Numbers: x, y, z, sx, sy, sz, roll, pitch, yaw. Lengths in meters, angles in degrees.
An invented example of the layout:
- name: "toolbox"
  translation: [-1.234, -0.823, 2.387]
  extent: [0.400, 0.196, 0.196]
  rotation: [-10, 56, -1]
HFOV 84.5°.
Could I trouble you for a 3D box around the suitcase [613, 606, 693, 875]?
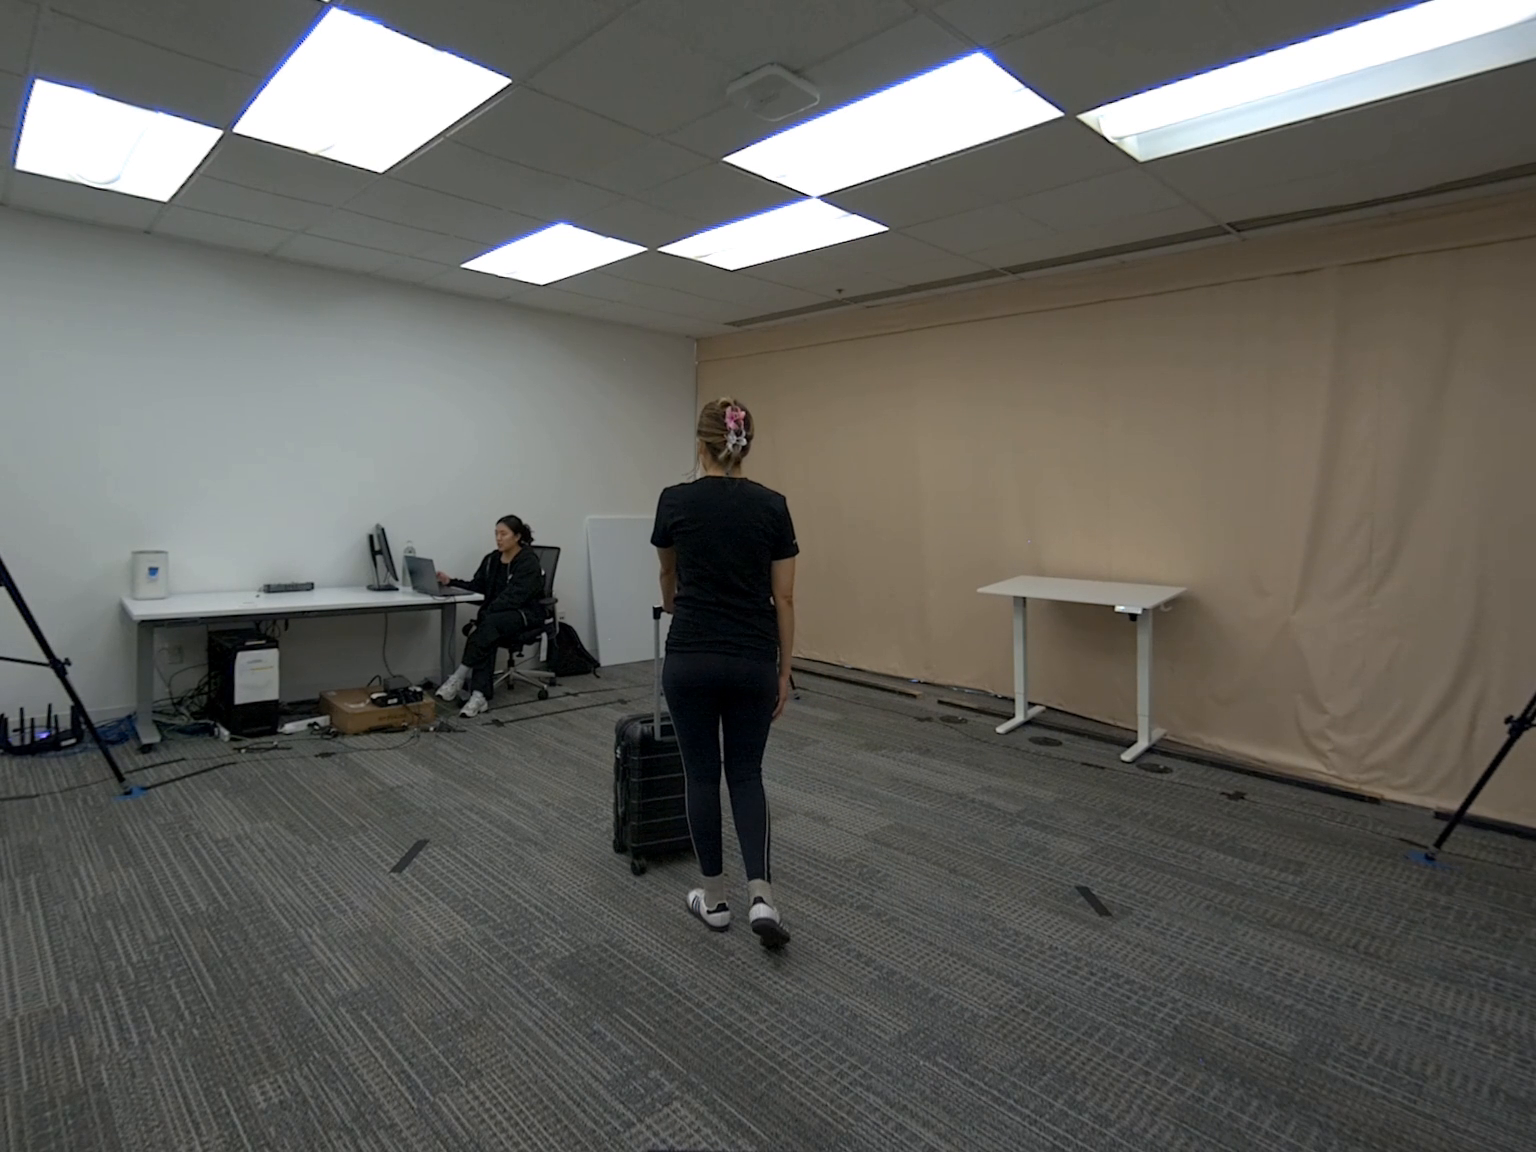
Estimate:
- name: "suitcase"
  translation: [-0.415, 0.607, 3.263]
  extent: [0.377, 0.978, 0.261]
  rotation: [0, 1, -24]
